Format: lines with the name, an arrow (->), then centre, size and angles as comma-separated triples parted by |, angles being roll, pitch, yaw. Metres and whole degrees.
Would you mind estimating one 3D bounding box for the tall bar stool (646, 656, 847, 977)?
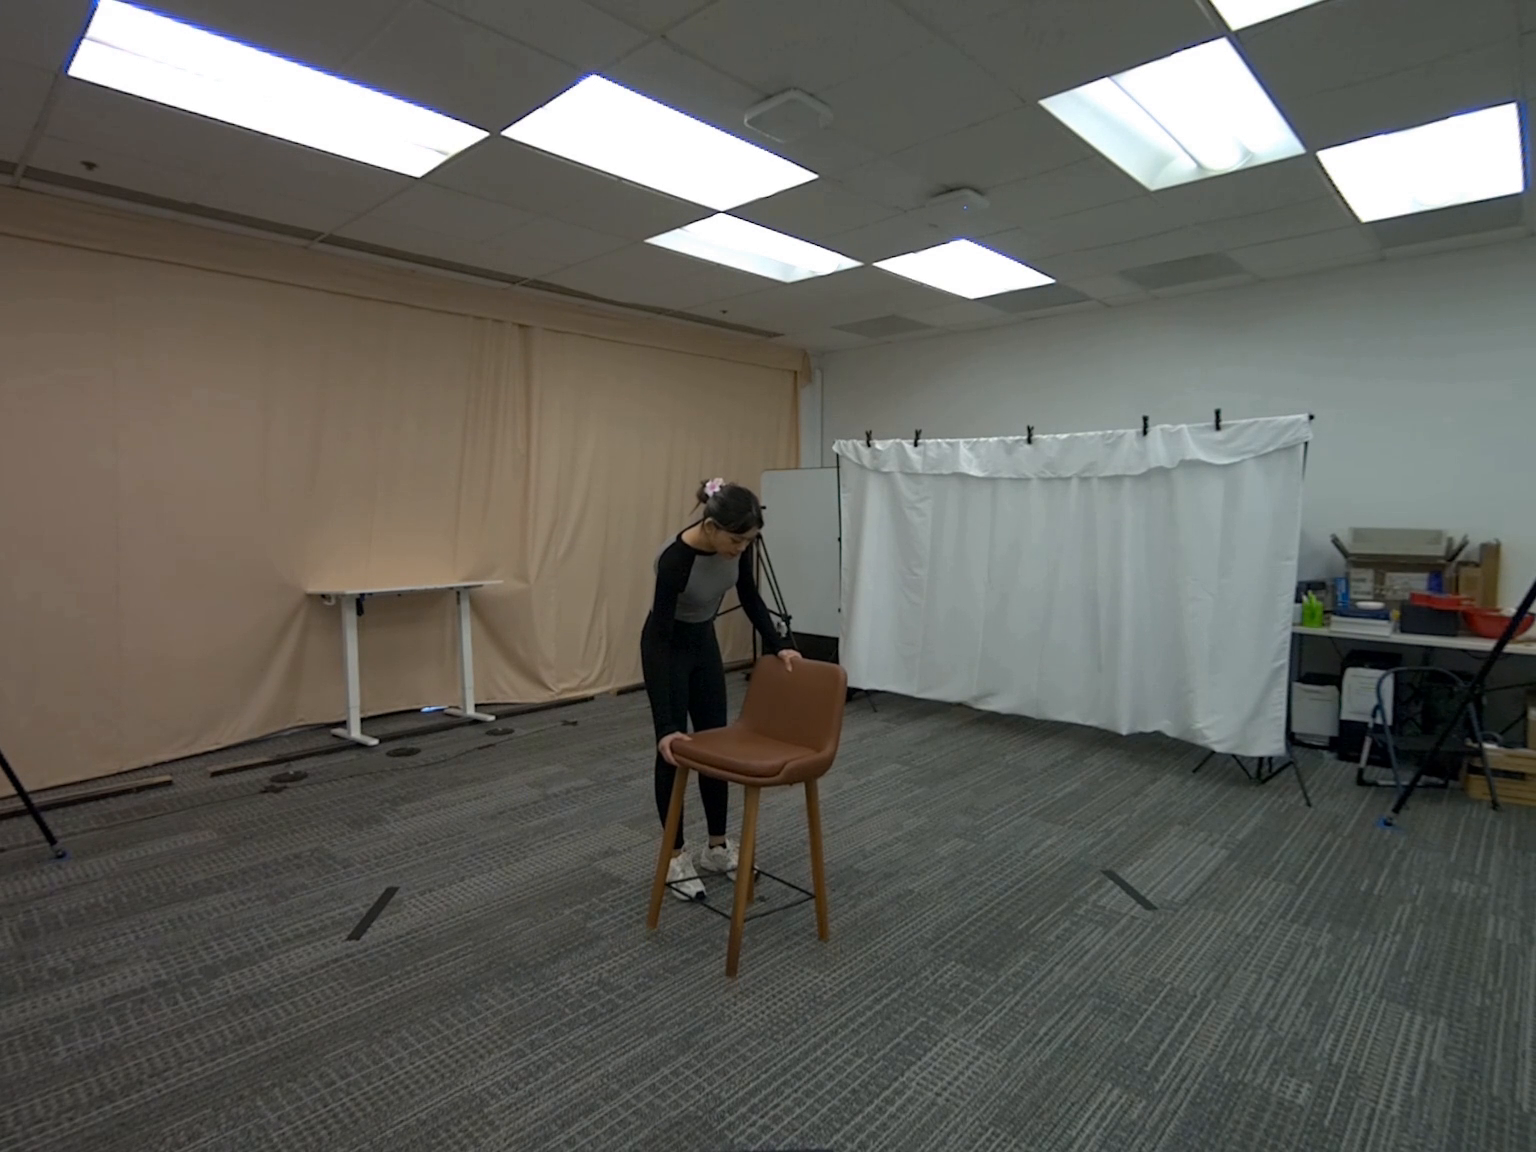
tall bar stool -> -0.046, 0.714, 2.701 | 0.452, 0.891, 0.472 | 8, -4, -43
